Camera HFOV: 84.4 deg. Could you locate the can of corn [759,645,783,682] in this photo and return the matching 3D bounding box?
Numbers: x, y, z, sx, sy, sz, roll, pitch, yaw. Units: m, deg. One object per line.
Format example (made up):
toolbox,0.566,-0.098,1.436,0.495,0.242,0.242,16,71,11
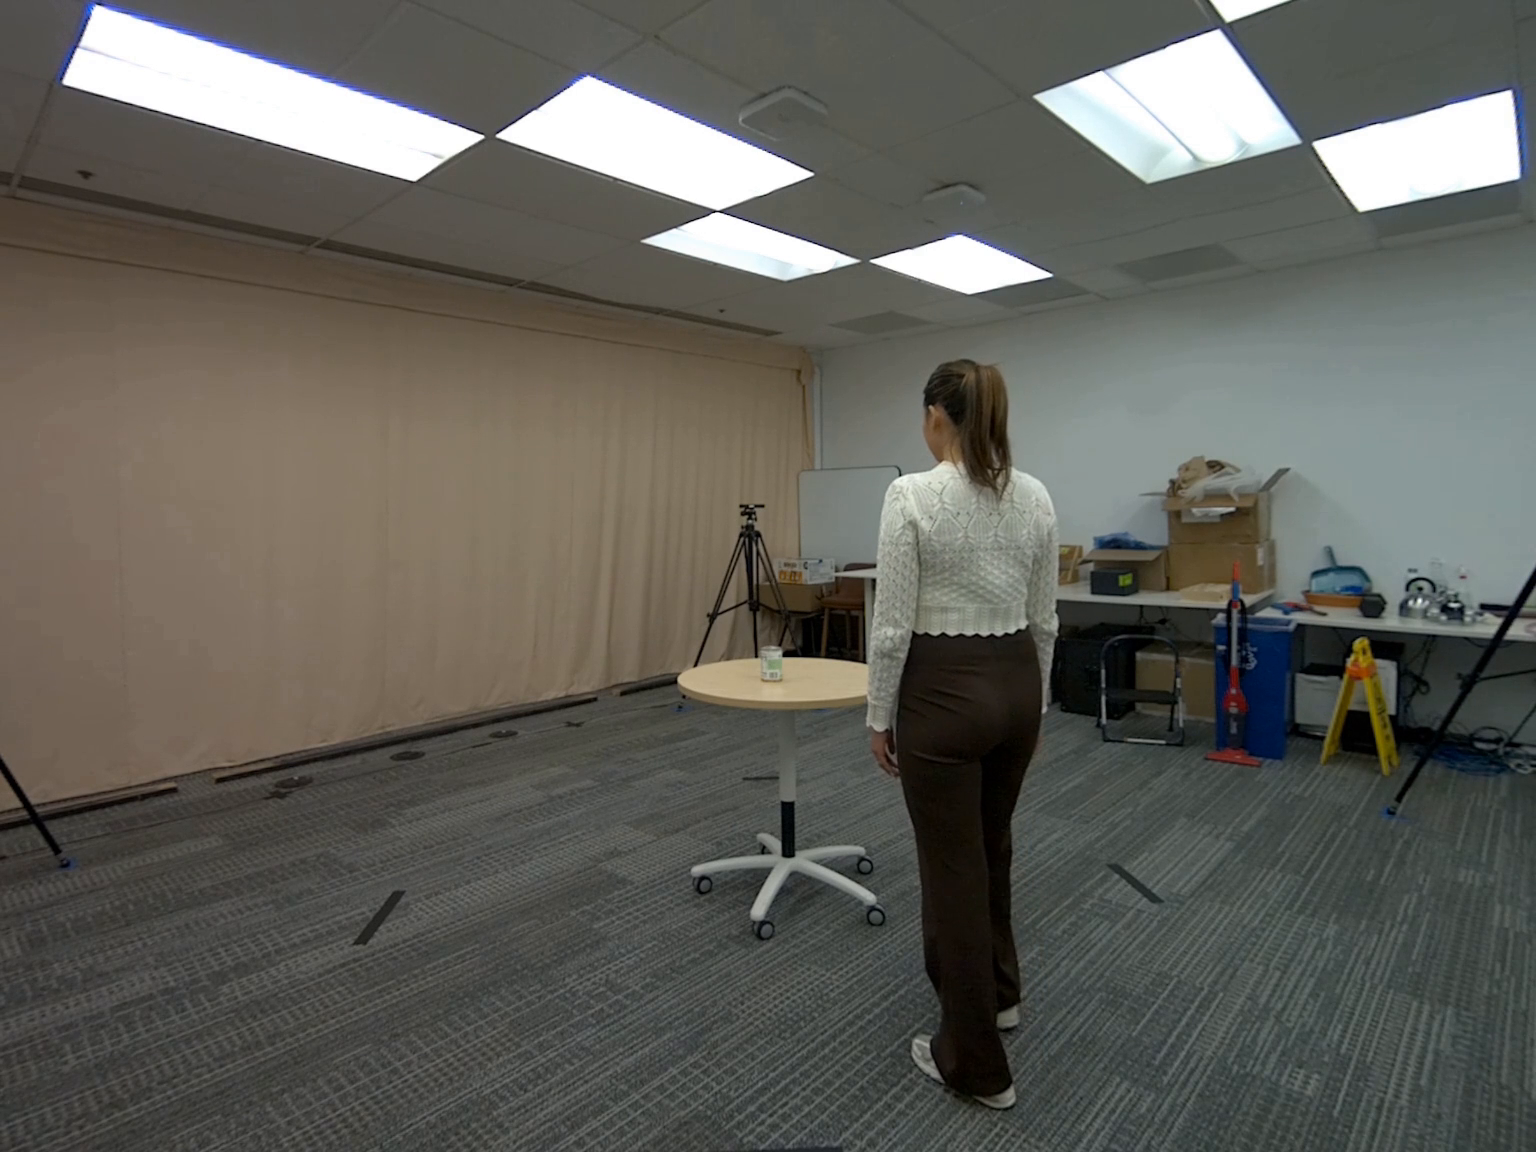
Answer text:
can of corn,0.020,0.307,2.905,0.074,0.111,0.074,-3,5,-2
